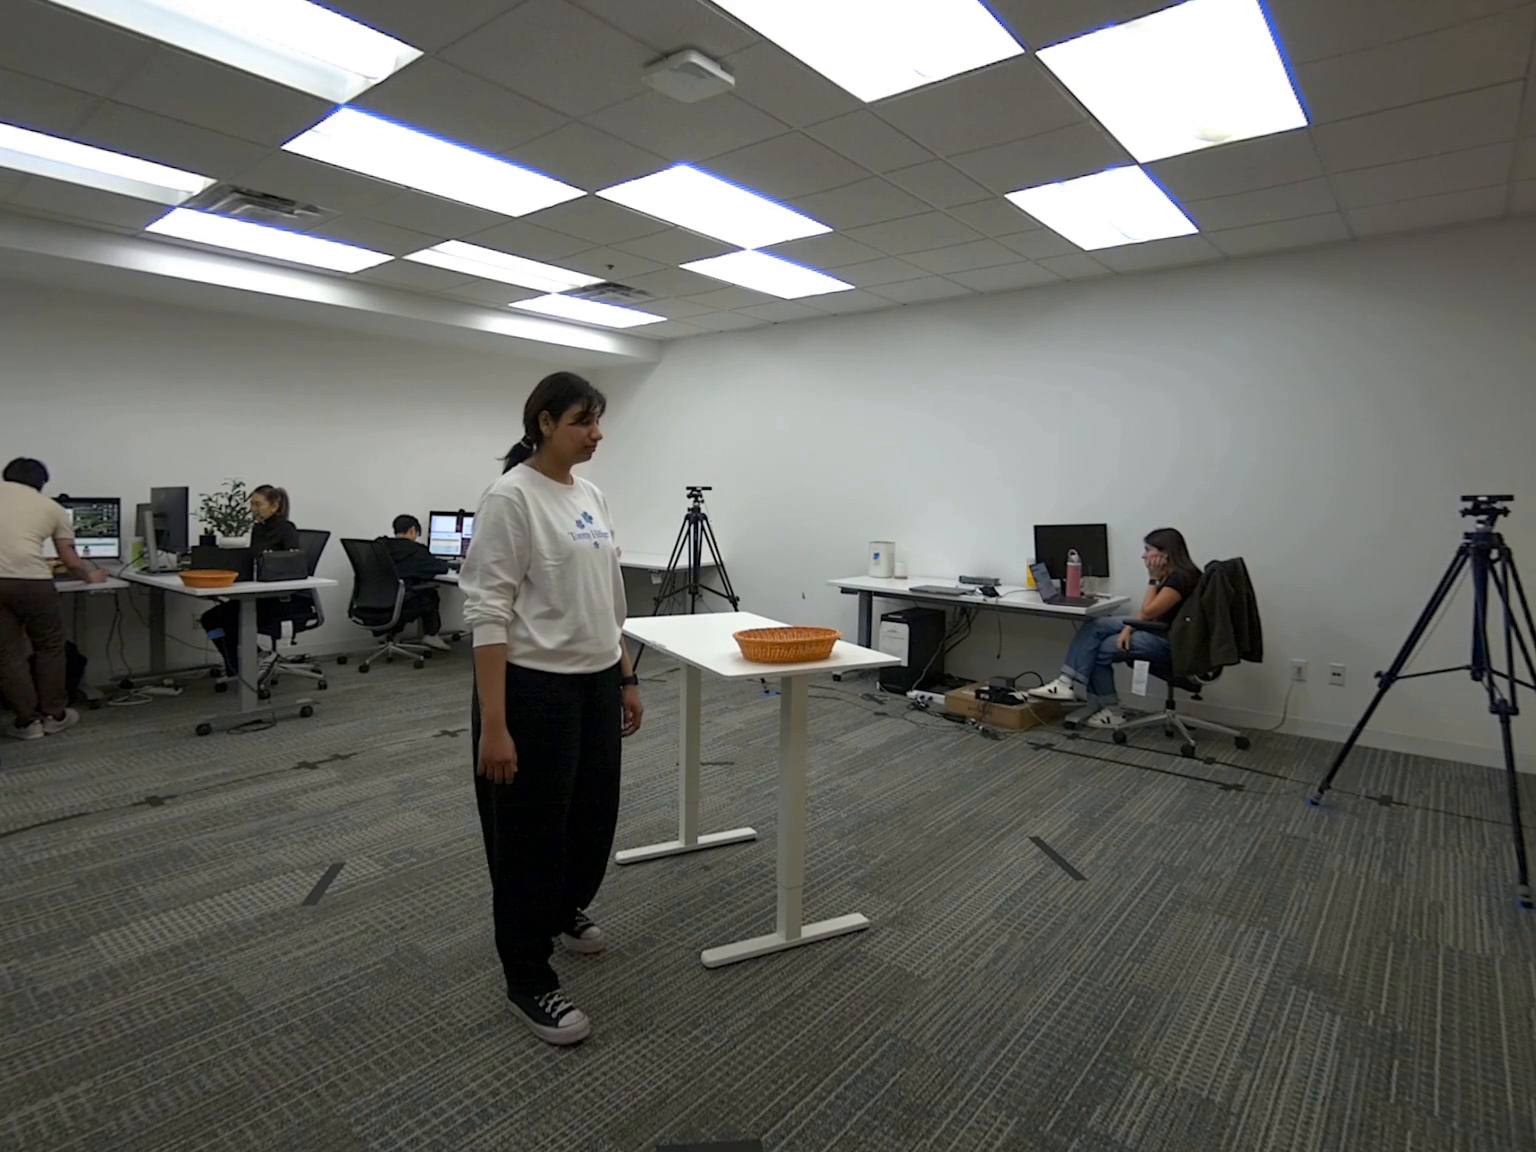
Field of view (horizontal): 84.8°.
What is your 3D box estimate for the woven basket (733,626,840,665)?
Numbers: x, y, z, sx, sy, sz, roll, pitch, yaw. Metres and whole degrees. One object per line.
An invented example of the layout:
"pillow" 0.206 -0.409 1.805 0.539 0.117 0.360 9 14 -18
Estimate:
"woven basket" 0.066 0.215 2.564 0.343 0.073 0.258 -2 4 -23
